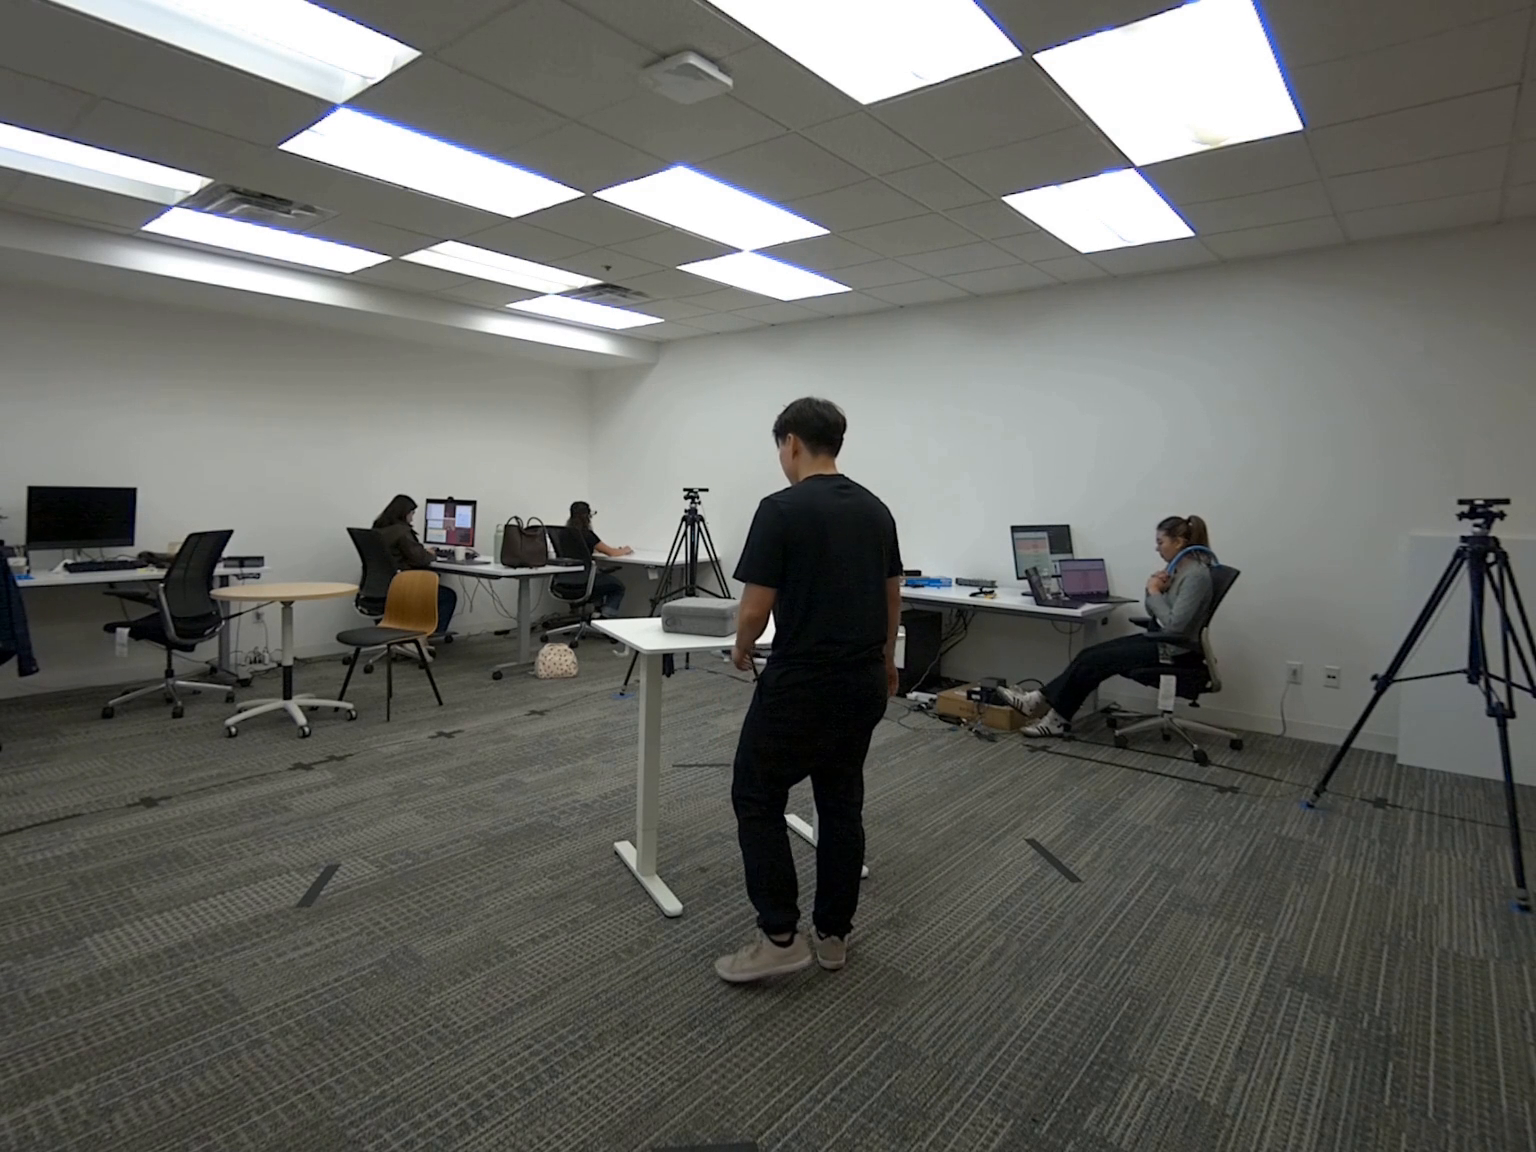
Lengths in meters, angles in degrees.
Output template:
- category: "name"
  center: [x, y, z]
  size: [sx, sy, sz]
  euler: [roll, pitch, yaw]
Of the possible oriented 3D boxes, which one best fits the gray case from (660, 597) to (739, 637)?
- category: "gray case"
  center: [-0.241, 0.139, 3.044]
  size: [0.266, 0.104, 0.253]
  euler: [3, 6, 18]
